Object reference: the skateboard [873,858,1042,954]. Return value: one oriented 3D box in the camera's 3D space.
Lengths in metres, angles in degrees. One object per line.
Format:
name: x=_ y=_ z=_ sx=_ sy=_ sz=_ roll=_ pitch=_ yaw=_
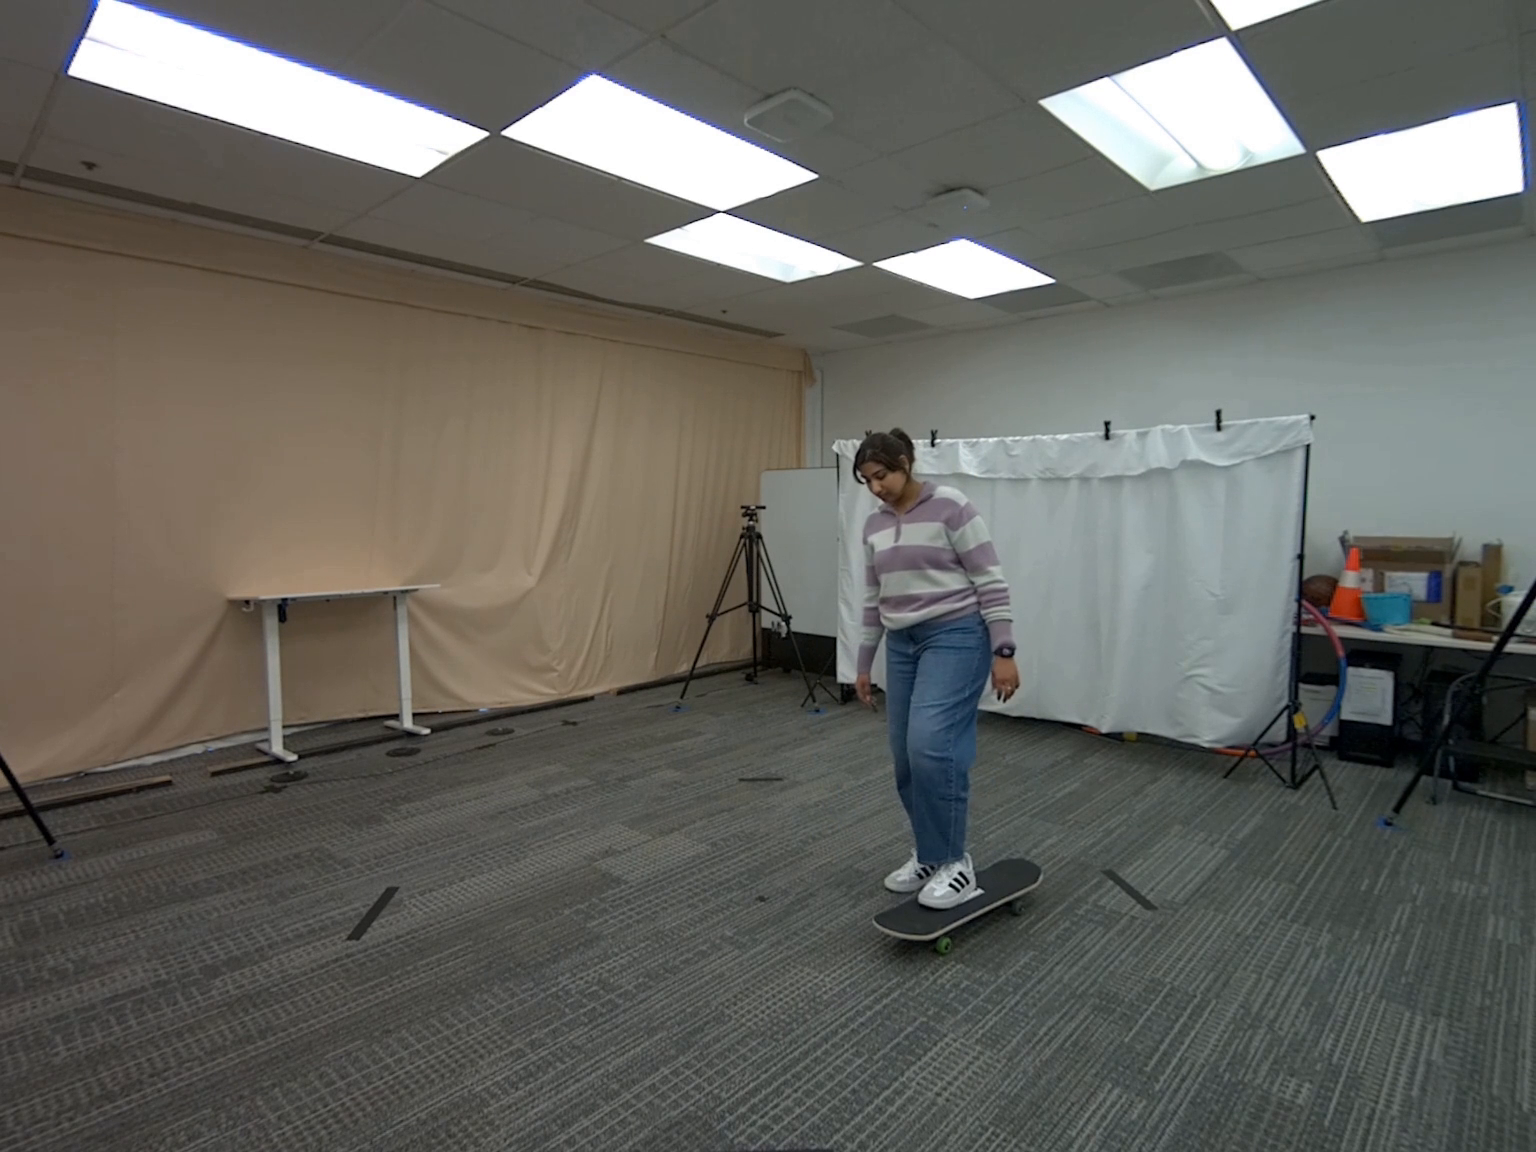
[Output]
skateboard: x=0.650 y=1.102 z=2.794 sx=0.762 sy=0.110 sz=0.200 roll=-4 pitch=4 yaw=-38
